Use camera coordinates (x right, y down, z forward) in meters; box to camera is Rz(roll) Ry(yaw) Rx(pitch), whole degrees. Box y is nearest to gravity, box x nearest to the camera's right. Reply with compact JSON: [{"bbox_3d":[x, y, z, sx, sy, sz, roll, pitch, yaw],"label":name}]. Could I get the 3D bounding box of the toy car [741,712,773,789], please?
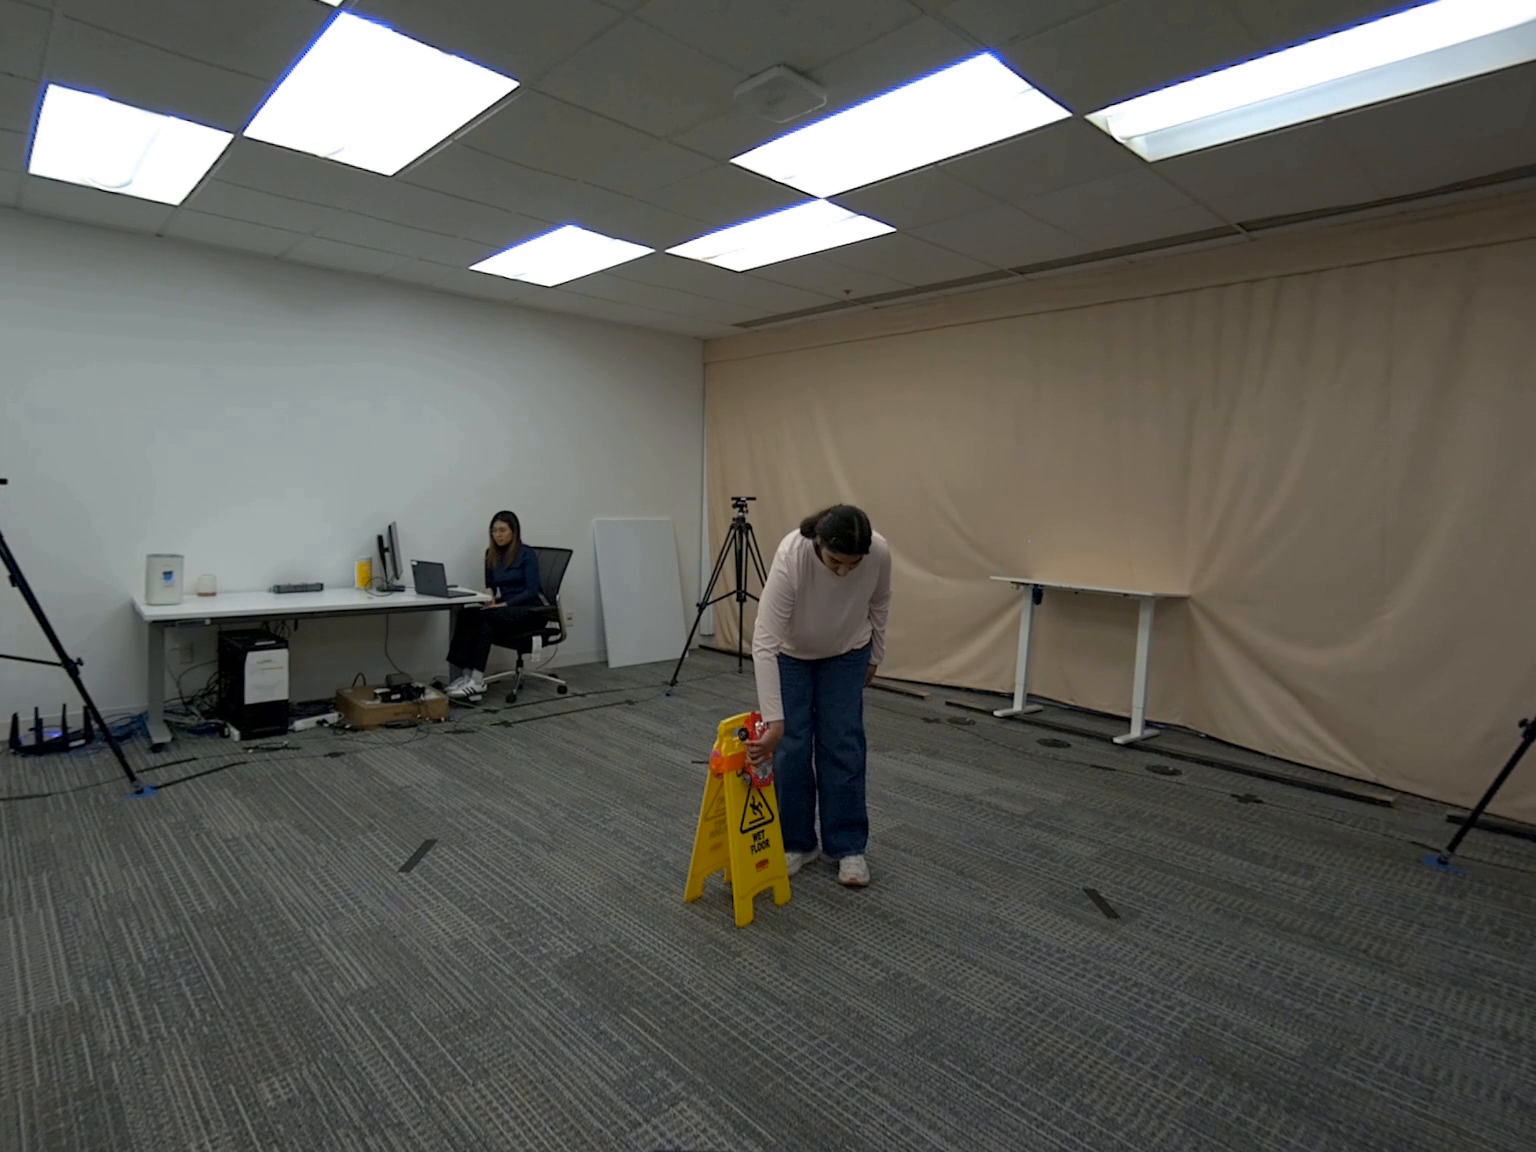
[{"bbox_3d":[-0.058,0.595,2.865,0.085,0.255,0.127,-1,-7,36],"label":"toy car"}]
